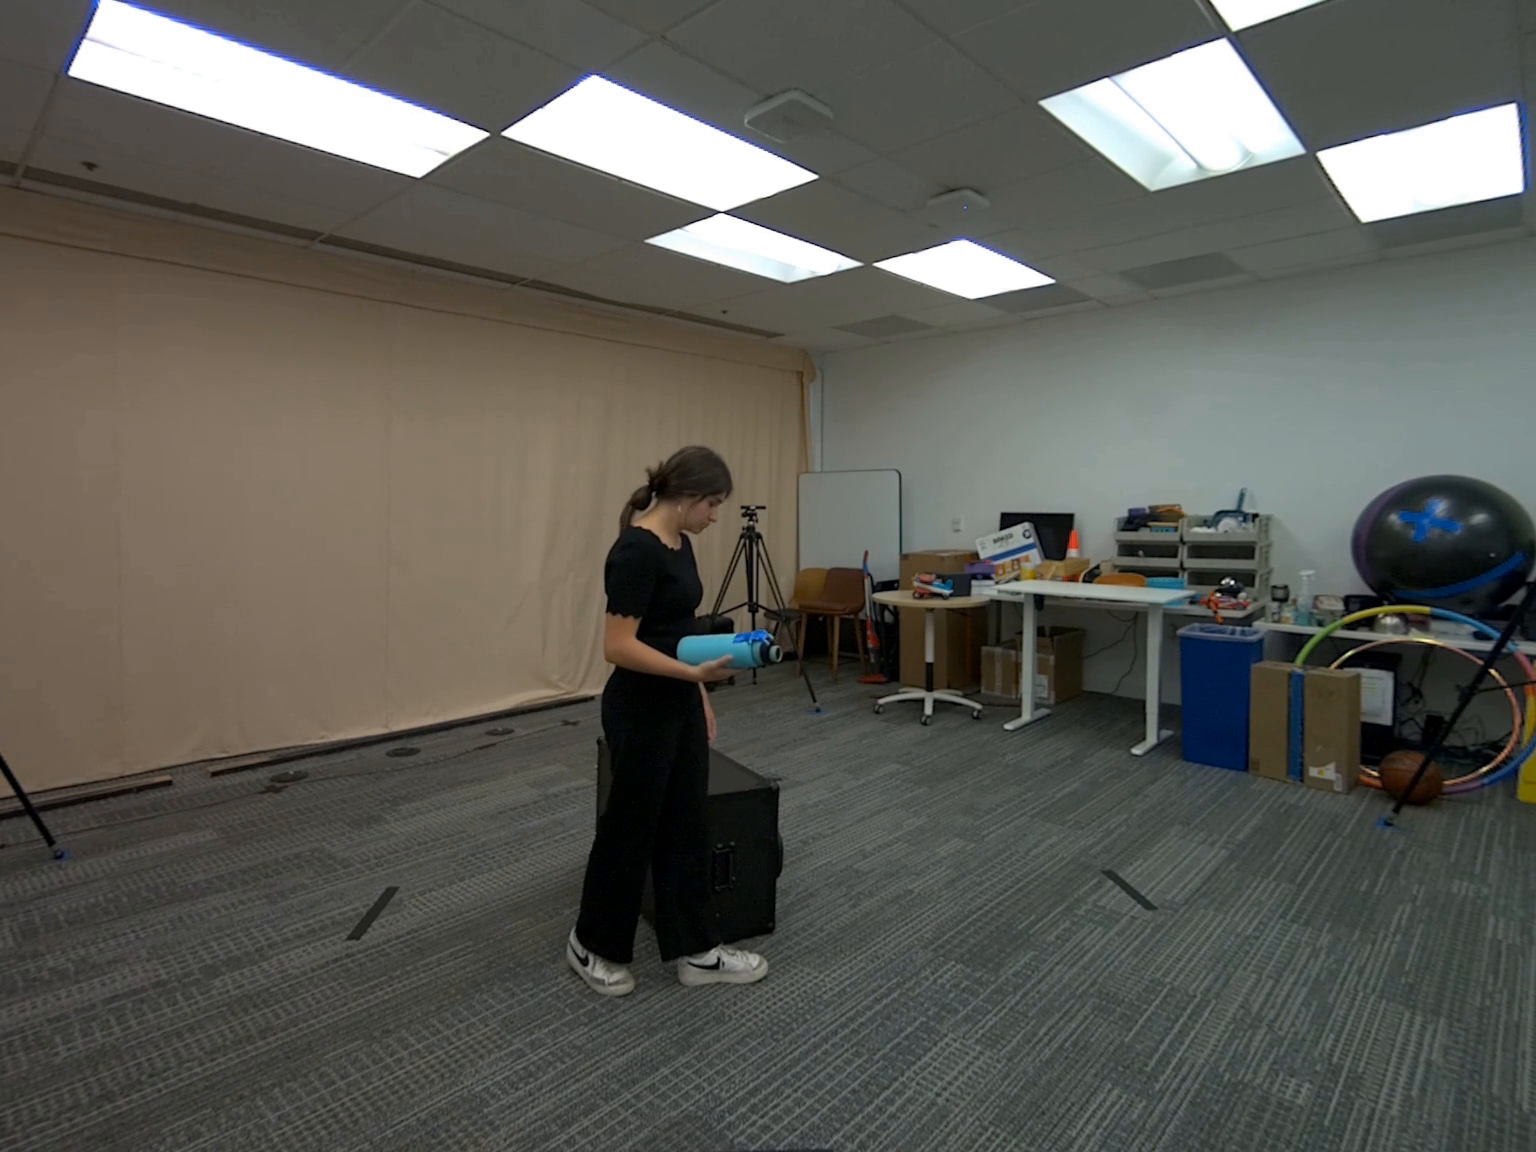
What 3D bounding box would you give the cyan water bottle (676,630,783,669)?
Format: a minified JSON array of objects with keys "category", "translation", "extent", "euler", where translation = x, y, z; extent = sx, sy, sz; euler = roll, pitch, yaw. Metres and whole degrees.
[{"category":"cyan water bottle","translation":[-0.103,0.197,2.209],"extent":[0.291,0.092,0.090],"euler":[-7,0,31]}]
